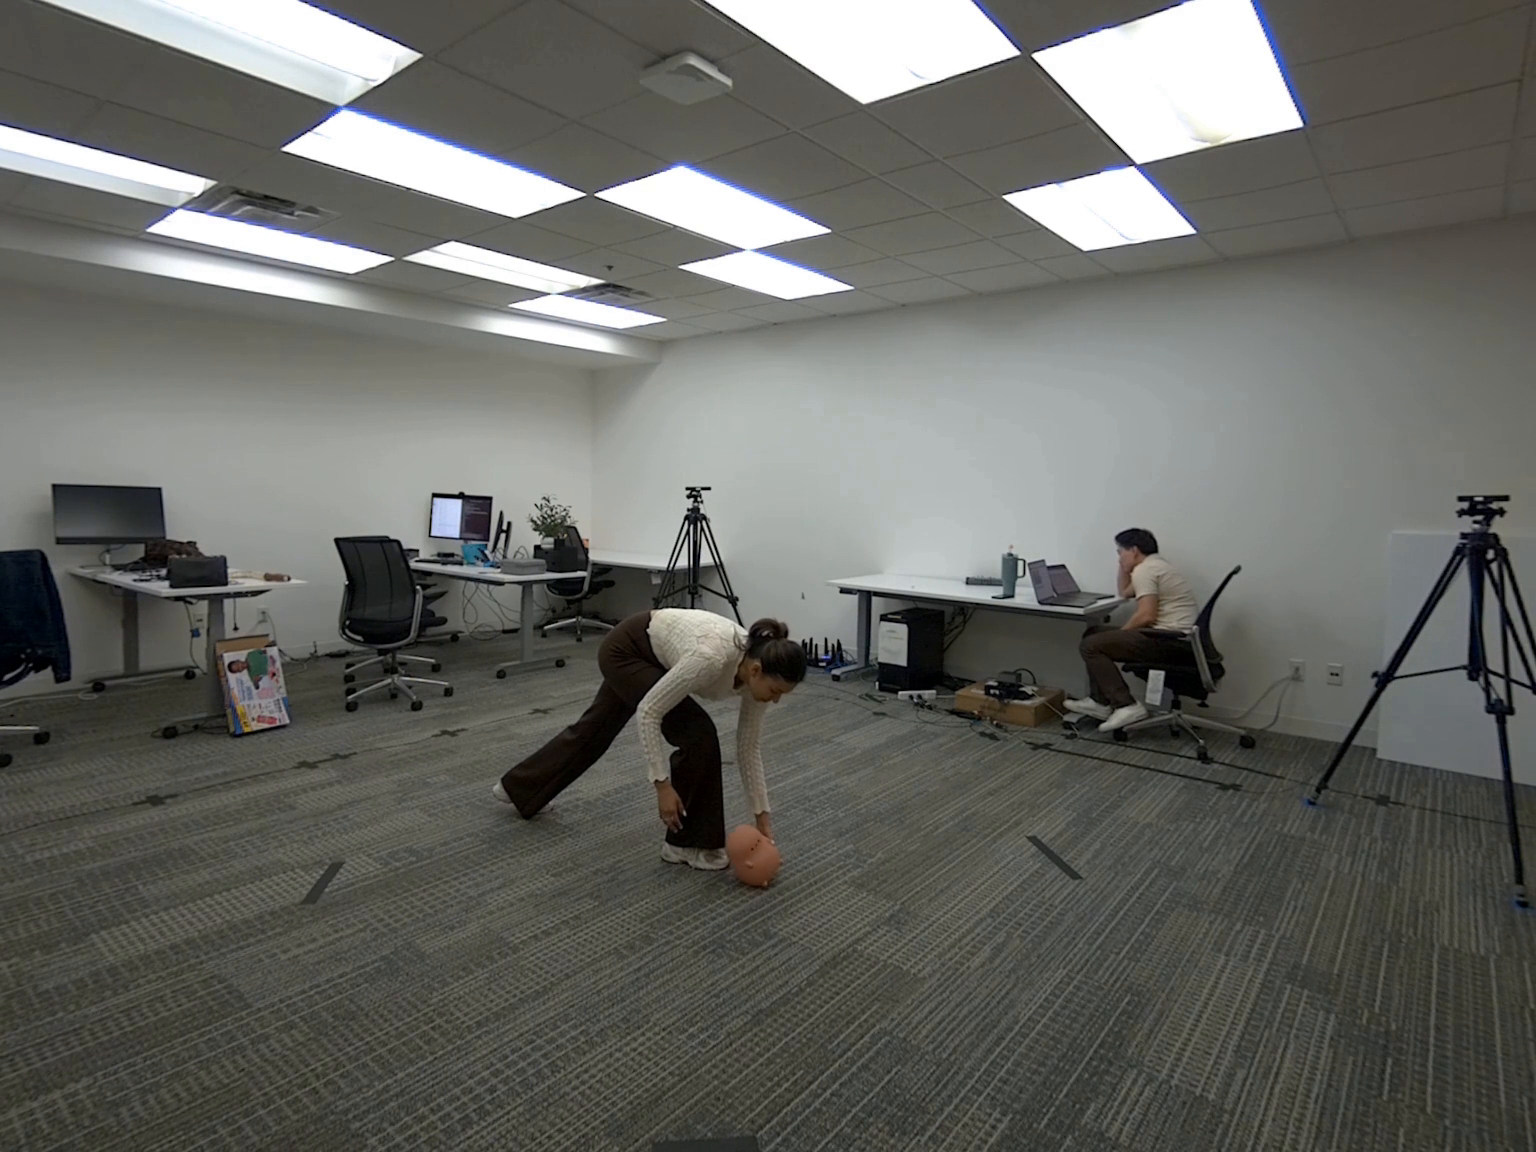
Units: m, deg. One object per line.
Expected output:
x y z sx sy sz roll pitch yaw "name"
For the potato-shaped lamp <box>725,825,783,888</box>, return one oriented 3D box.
-0.073 0.968 3.014 0.173 0.196 0.165 -22 9 15 "potato-shaped lamp"
